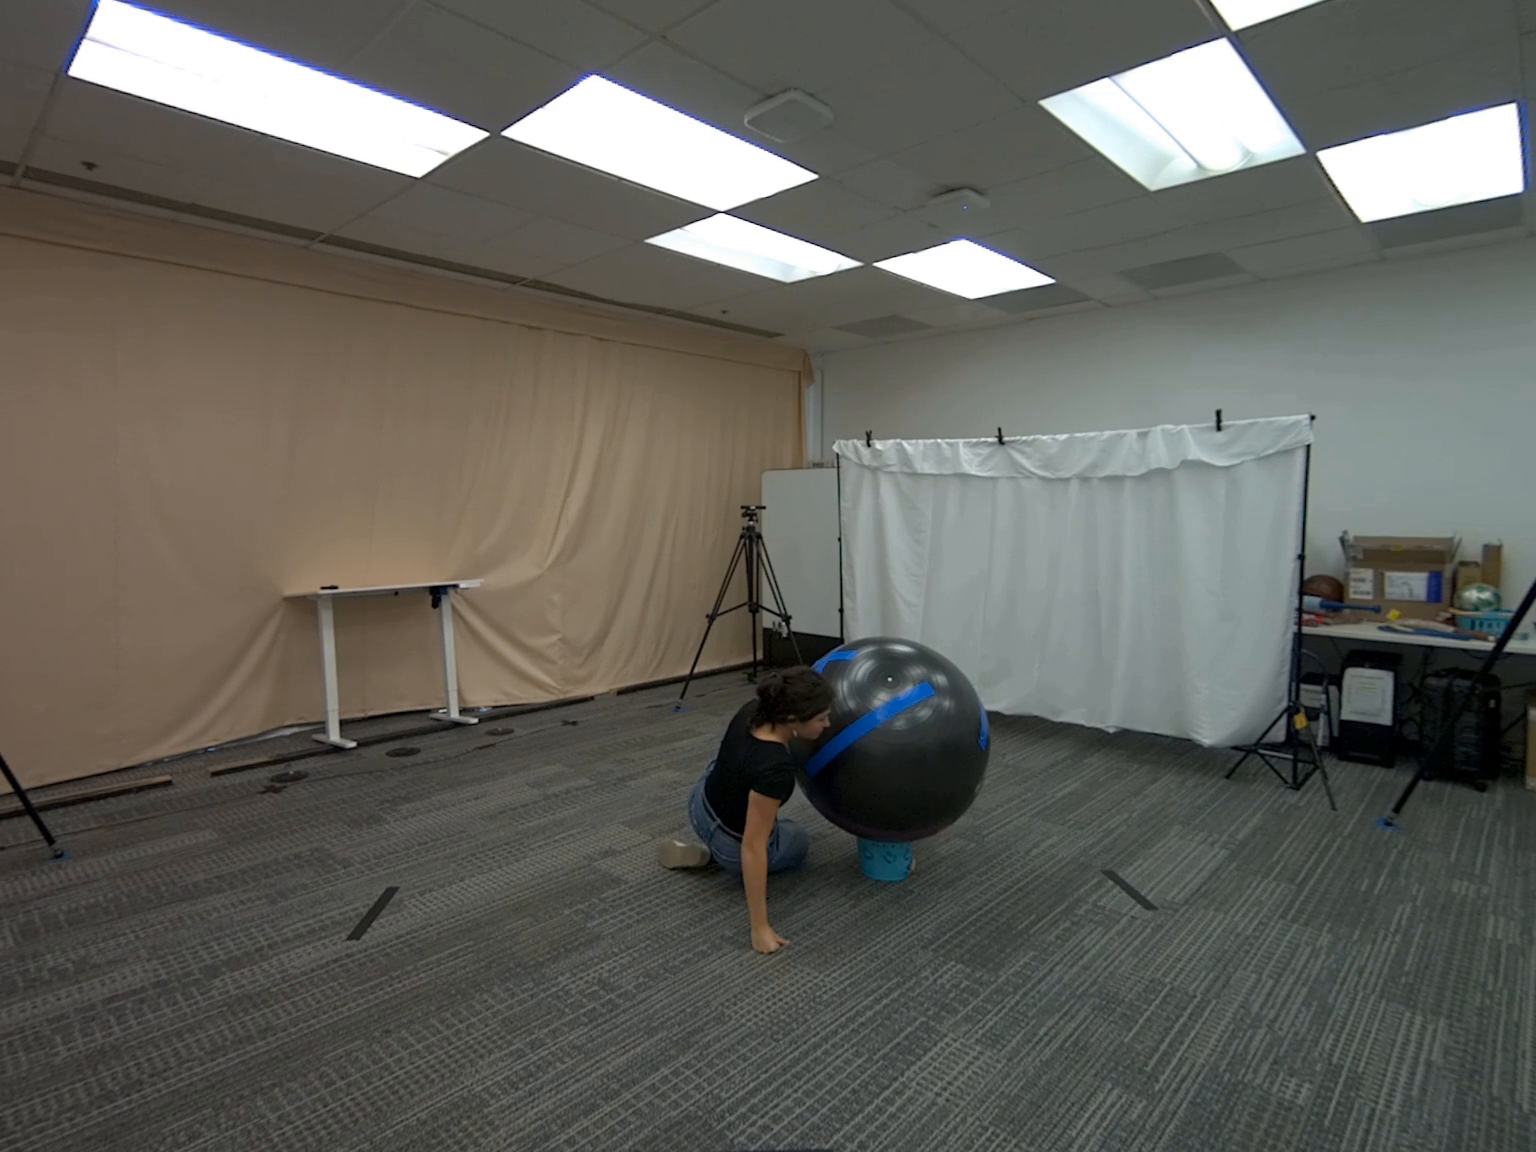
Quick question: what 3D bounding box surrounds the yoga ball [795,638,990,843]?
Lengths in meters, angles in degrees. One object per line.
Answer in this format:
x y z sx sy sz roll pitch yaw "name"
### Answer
0.459 0.612 3.203 0.757 0.756 0.760 0 4 -2 "yoga ball"
